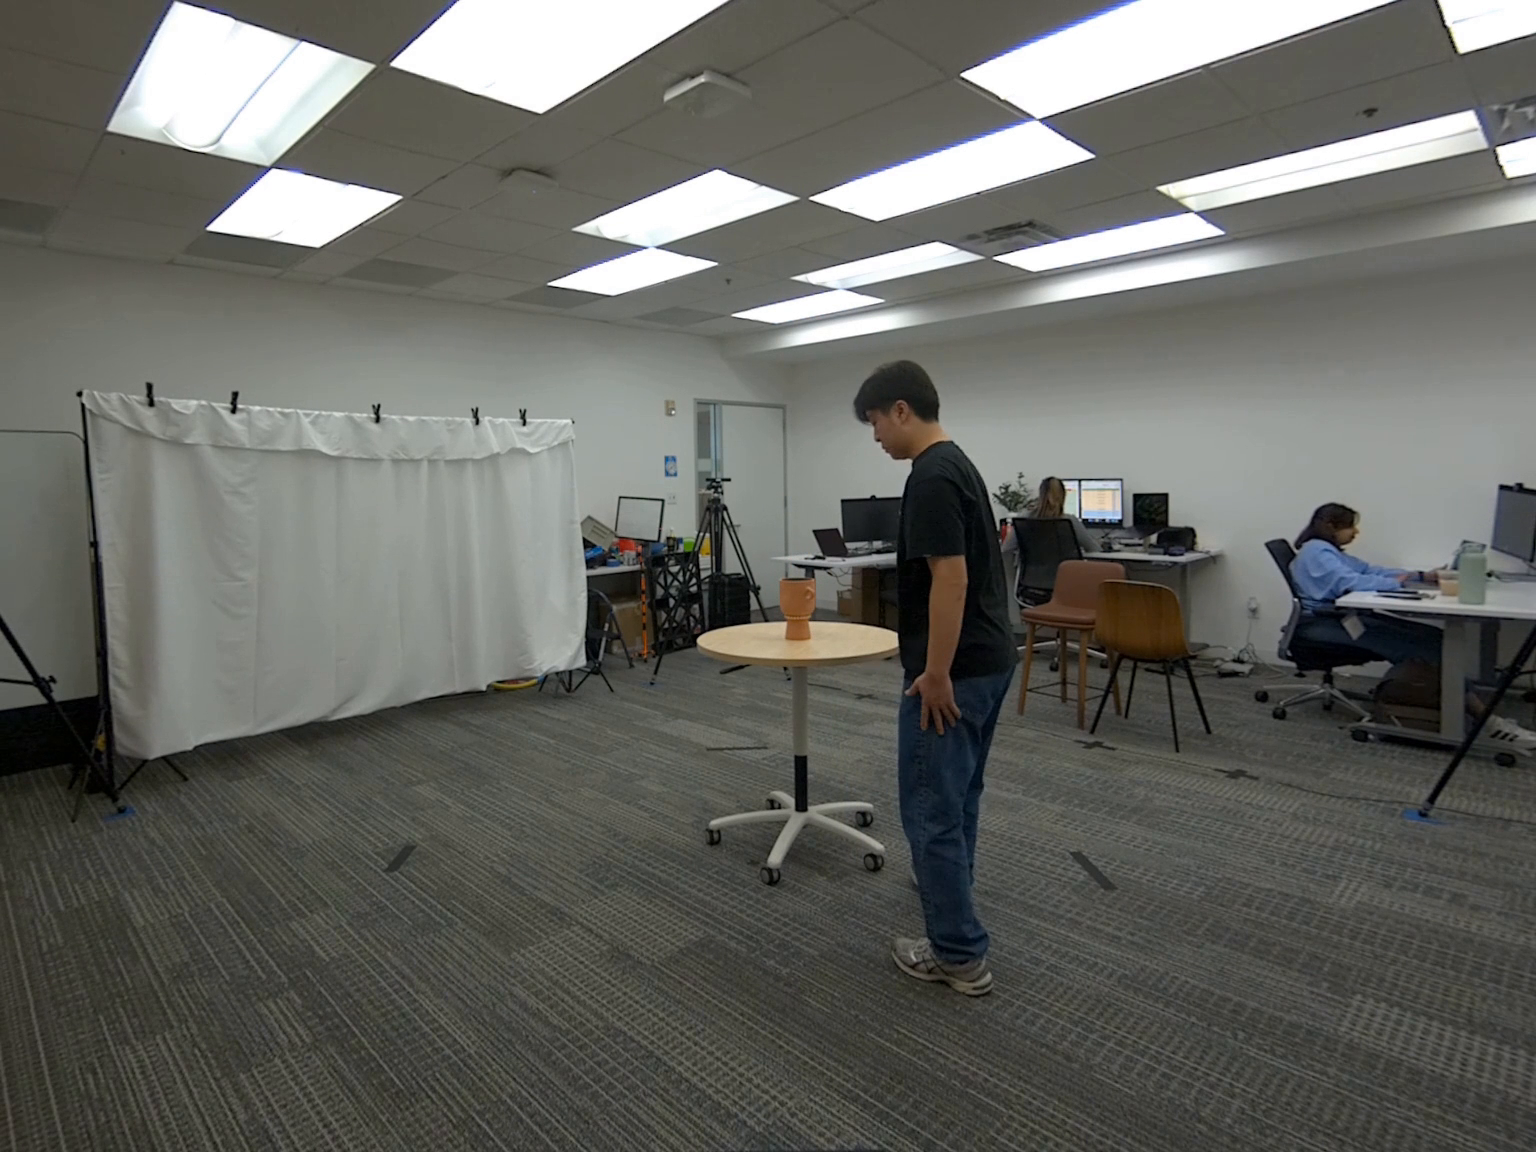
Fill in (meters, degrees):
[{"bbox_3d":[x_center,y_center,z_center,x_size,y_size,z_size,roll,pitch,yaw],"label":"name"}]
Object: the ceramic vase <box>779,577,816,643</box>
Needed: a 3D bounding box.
[{"bbox_3d":[0.114,0.124,3.193,0.135,0.219,0.158,-1,4,6],"label":"ceramic vase"}]
